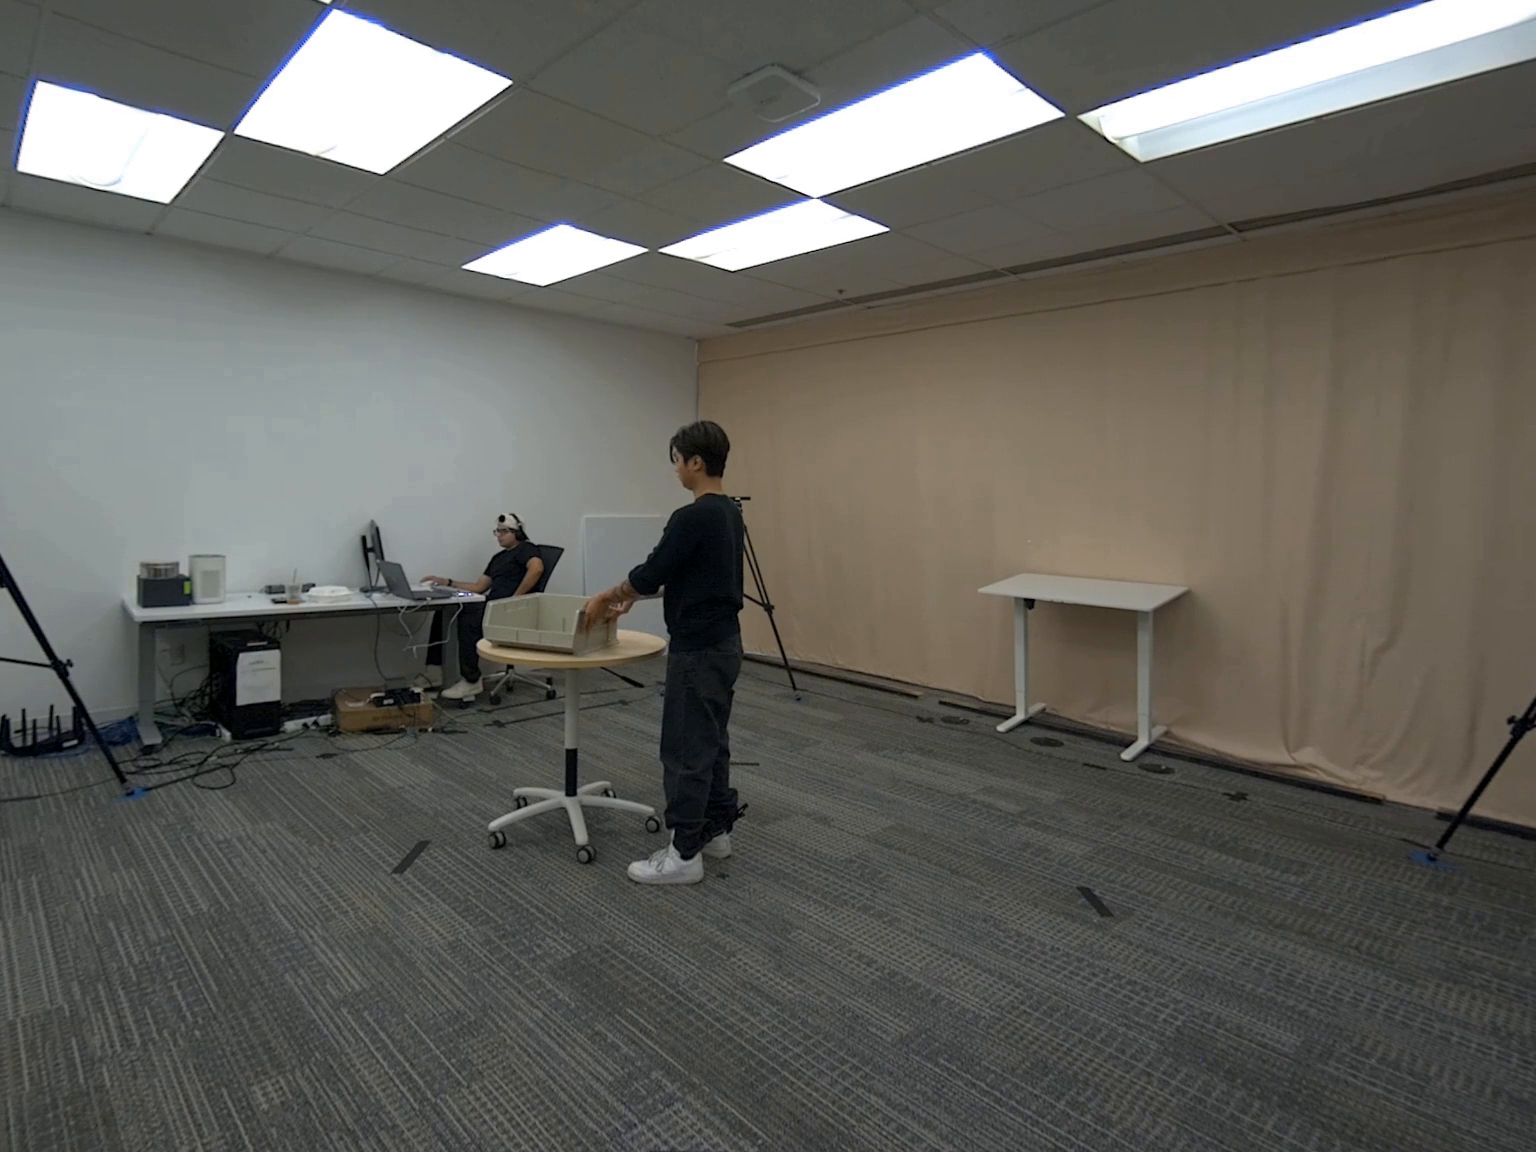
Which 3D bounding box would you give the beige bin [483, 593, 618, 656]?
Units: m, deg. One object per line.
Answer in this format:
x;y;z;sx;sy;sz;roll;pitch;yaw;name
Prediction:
-0.869;0.190;3.407;0.429;0.189;0.372;3;3;20;beige bin
